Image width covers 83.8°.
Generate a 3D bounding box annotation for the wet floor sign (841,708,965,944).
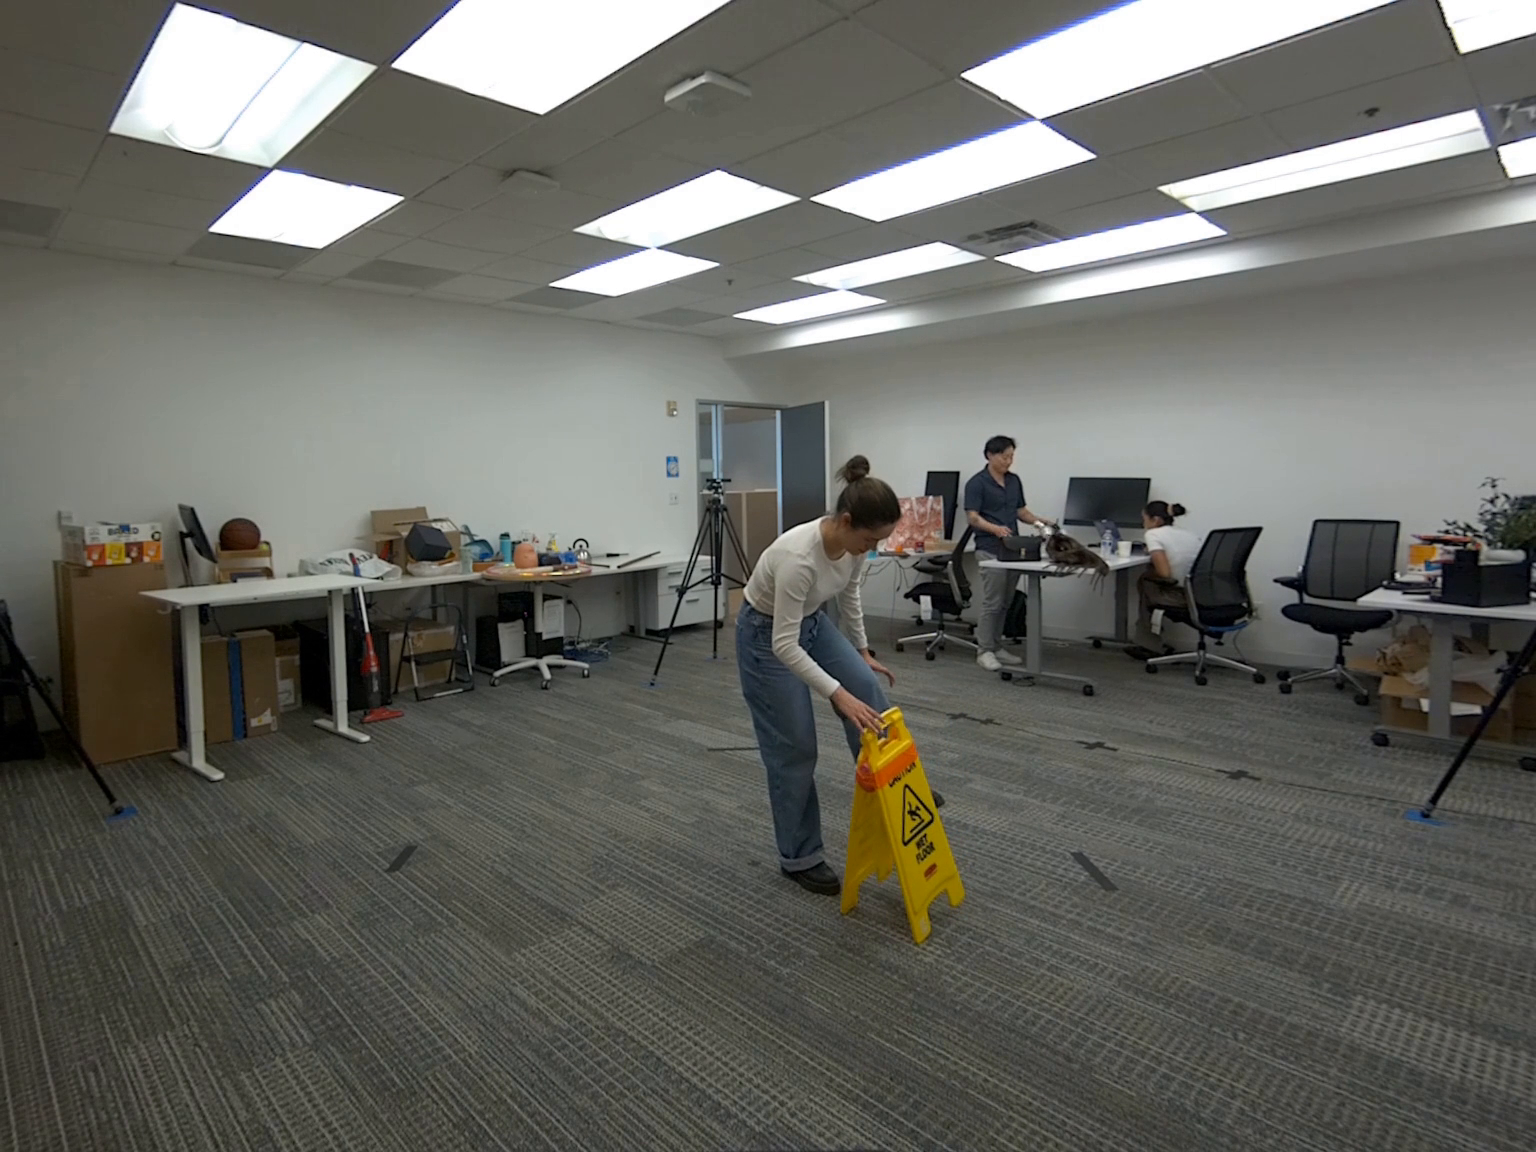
[{"bbox_3d":[0.391,0.750,2.681,0.298,0.639,0.277,3,15,42],"label":"wet floor sign"}]
